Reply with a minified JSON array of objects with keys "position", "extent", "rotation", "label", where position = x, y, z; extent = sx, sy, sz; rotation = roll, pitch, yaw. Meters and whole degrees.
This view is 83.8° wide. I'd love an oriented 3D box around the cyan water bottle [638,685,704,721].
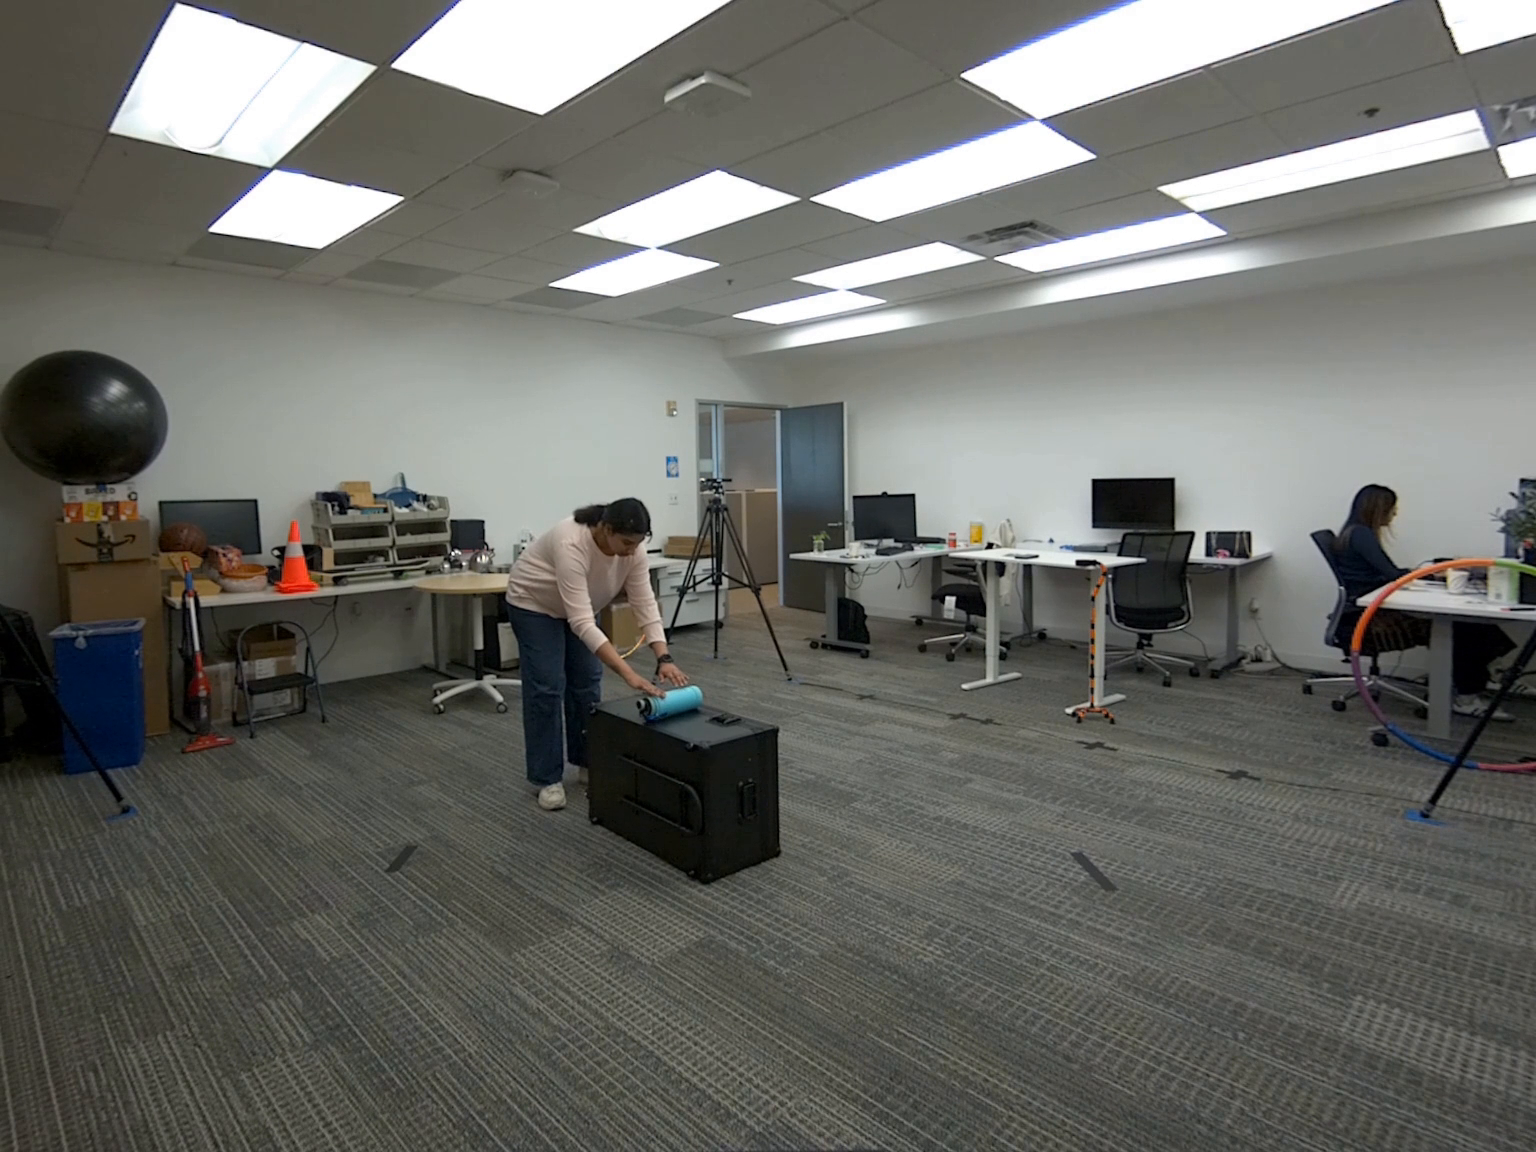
[{"position":[-0.384,0.491,3.329],"extent":[0.095,0.092,0.276],"rotation":[4,7,44],"label":"cyan water bottle"}]
